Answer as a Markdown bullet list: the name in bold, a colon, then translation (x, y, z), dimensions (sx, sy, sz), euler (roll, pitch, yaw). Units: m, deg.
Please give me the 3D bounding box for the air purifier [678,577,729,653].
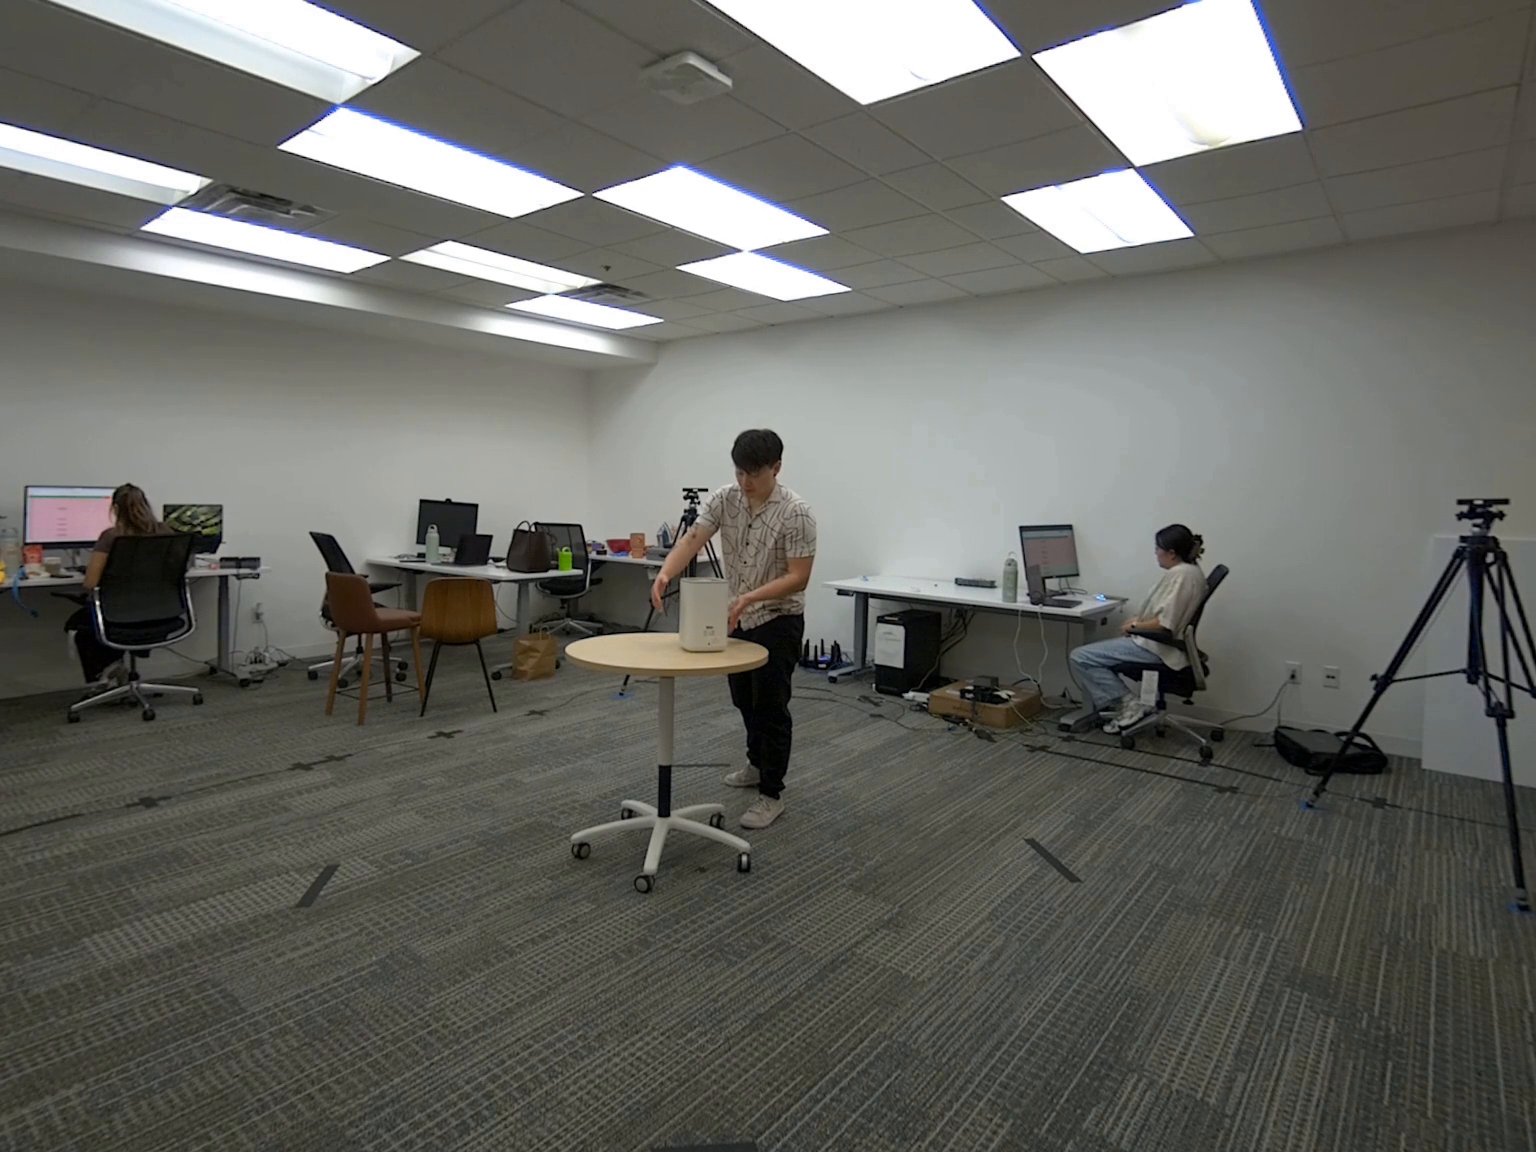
- **air purifier**: translation (-0.251, 0.140, 3.233), dimensions (0.168, 0.265, 0.175), euler (1, 2, -17)
